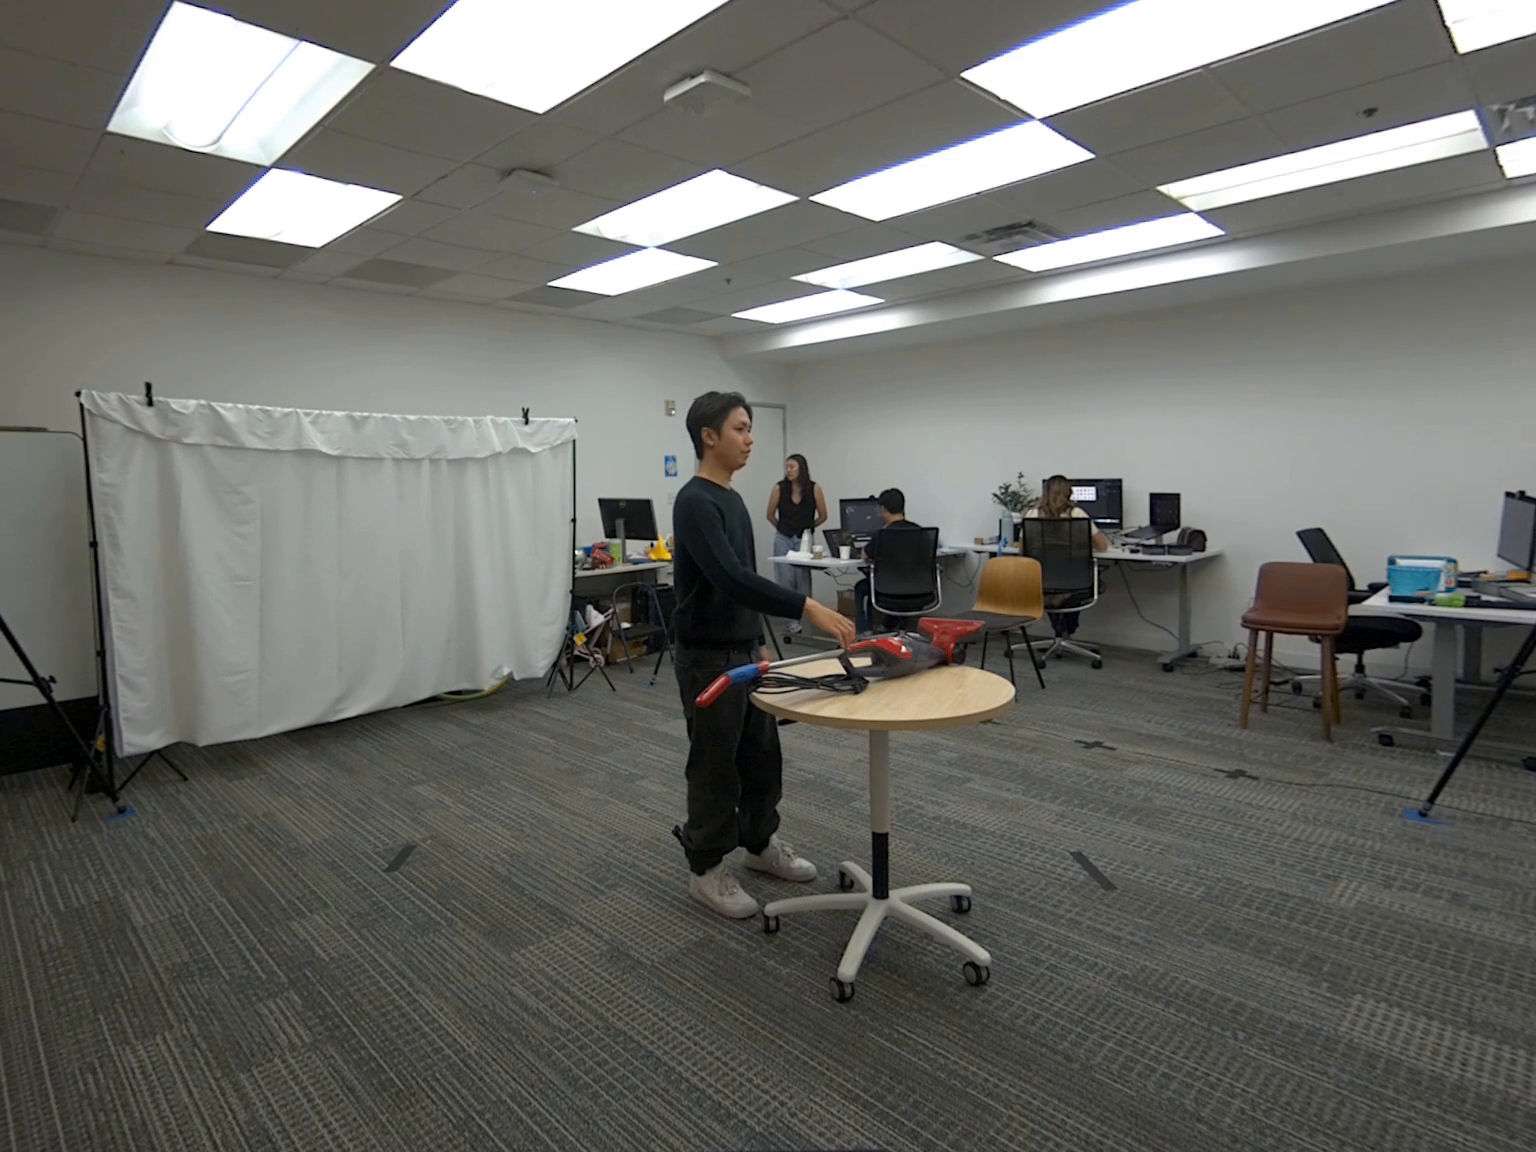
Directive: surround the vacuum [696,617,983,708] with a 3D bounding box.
[{"bbox_3d":[0.228,0.268,2.461,1.023,0.143,0.260,-8,5,-43],"label":"vacuum"}]
